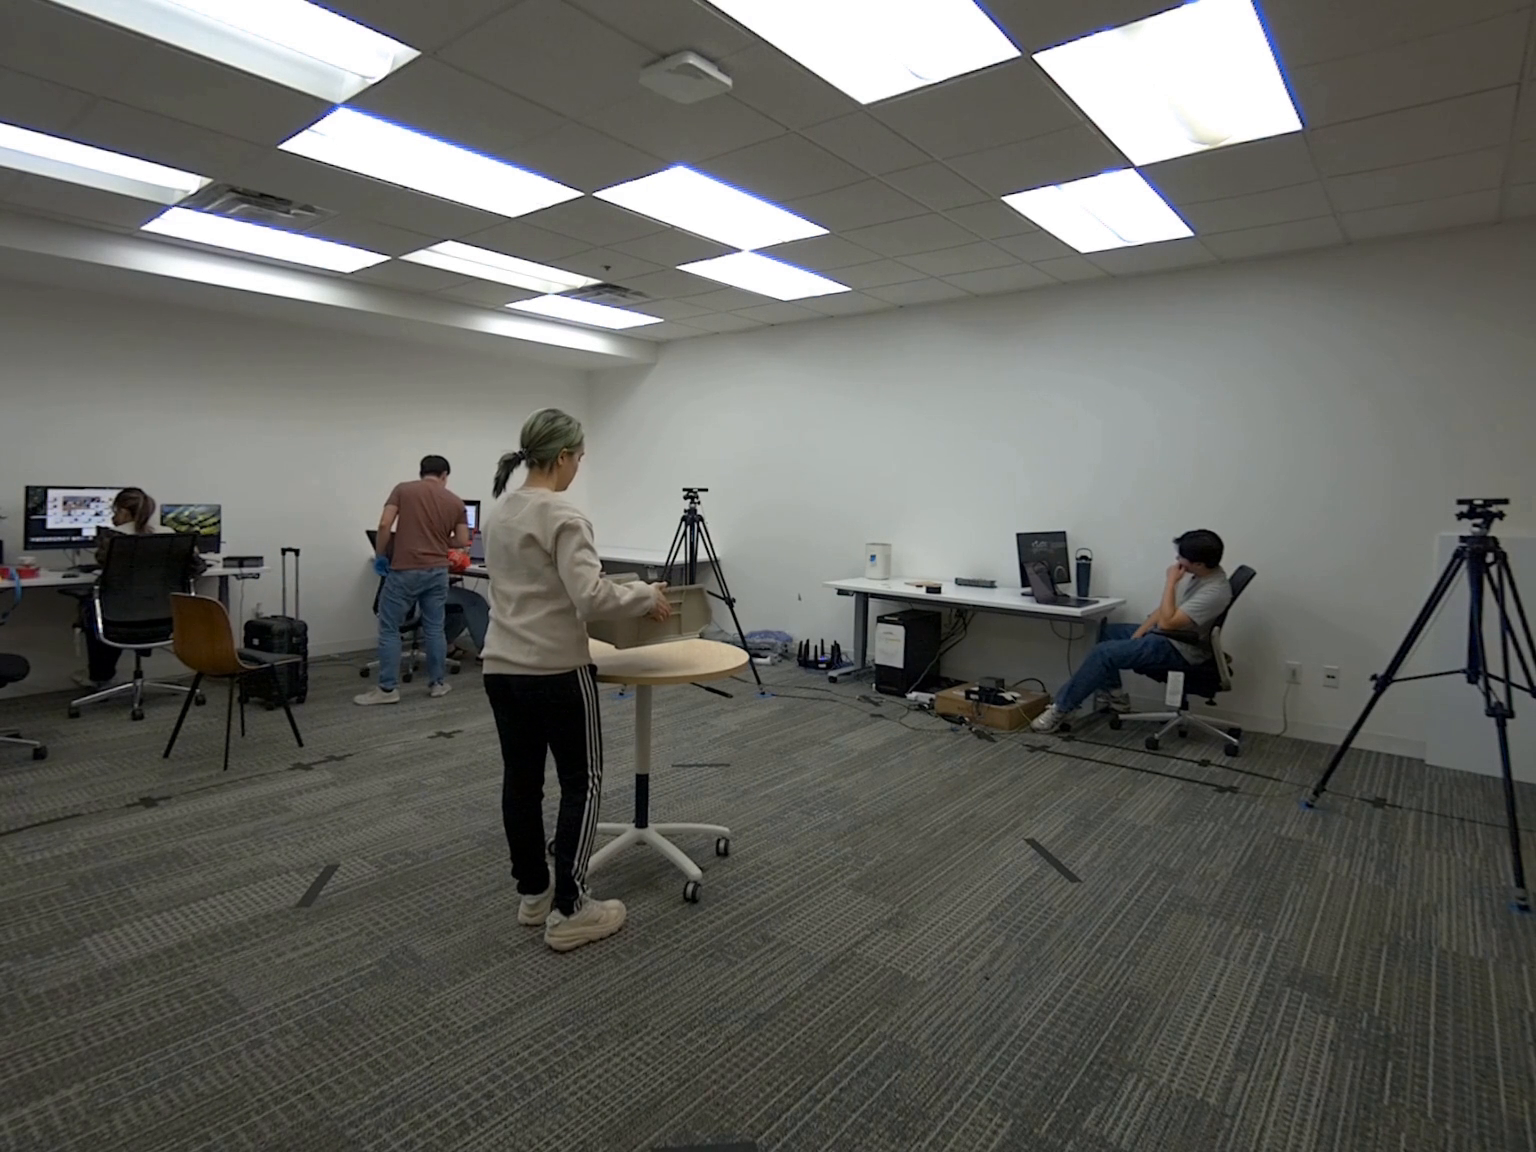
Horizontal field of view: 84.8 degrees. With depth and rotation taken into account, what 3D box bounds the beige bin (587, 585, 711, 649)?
[{"bbox_3d":[-0.468,0.109,2.915,0.367,0.188,0.437,-6,10,-39],"label":"beige bin"}]
